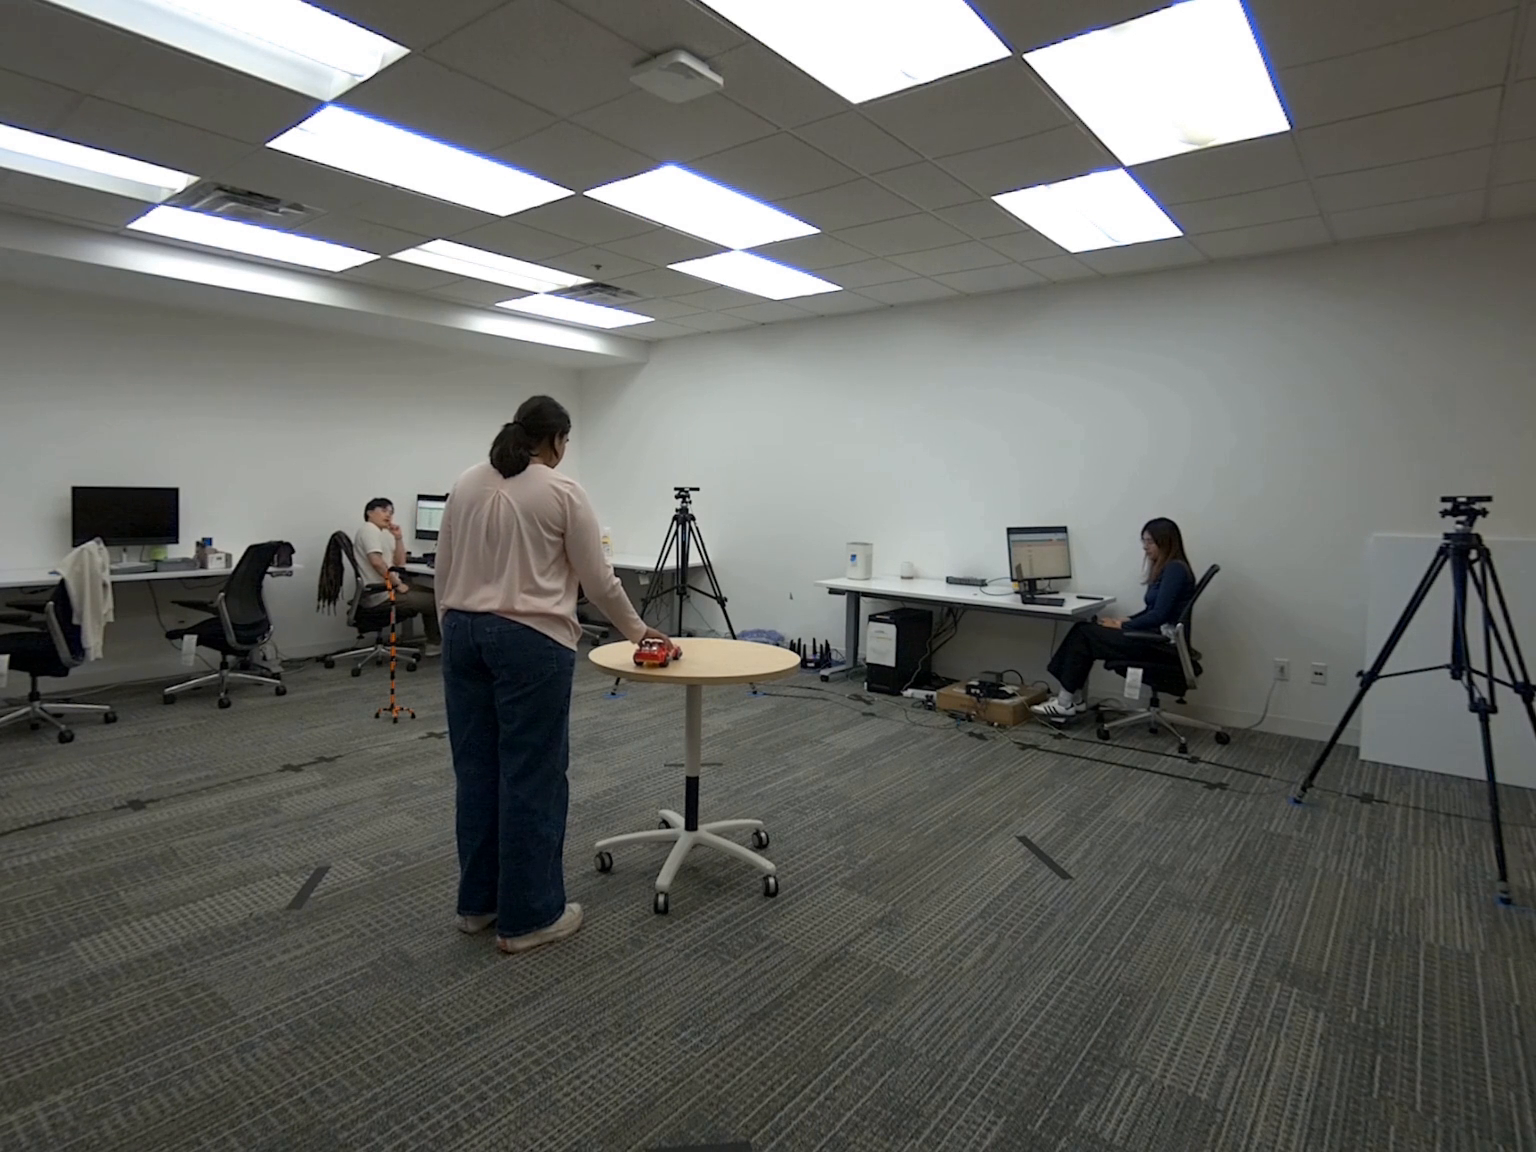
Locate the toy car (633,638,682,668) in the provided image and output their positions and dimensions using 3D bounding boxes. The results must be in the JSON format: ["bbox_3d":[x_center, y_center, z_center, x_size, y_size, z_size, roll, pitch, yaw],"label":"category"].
[{"bbox_3d":[-0.390,0.265,2.923,0.131,0.084,0.250,3,-5,7],"label":"toy car"}]
